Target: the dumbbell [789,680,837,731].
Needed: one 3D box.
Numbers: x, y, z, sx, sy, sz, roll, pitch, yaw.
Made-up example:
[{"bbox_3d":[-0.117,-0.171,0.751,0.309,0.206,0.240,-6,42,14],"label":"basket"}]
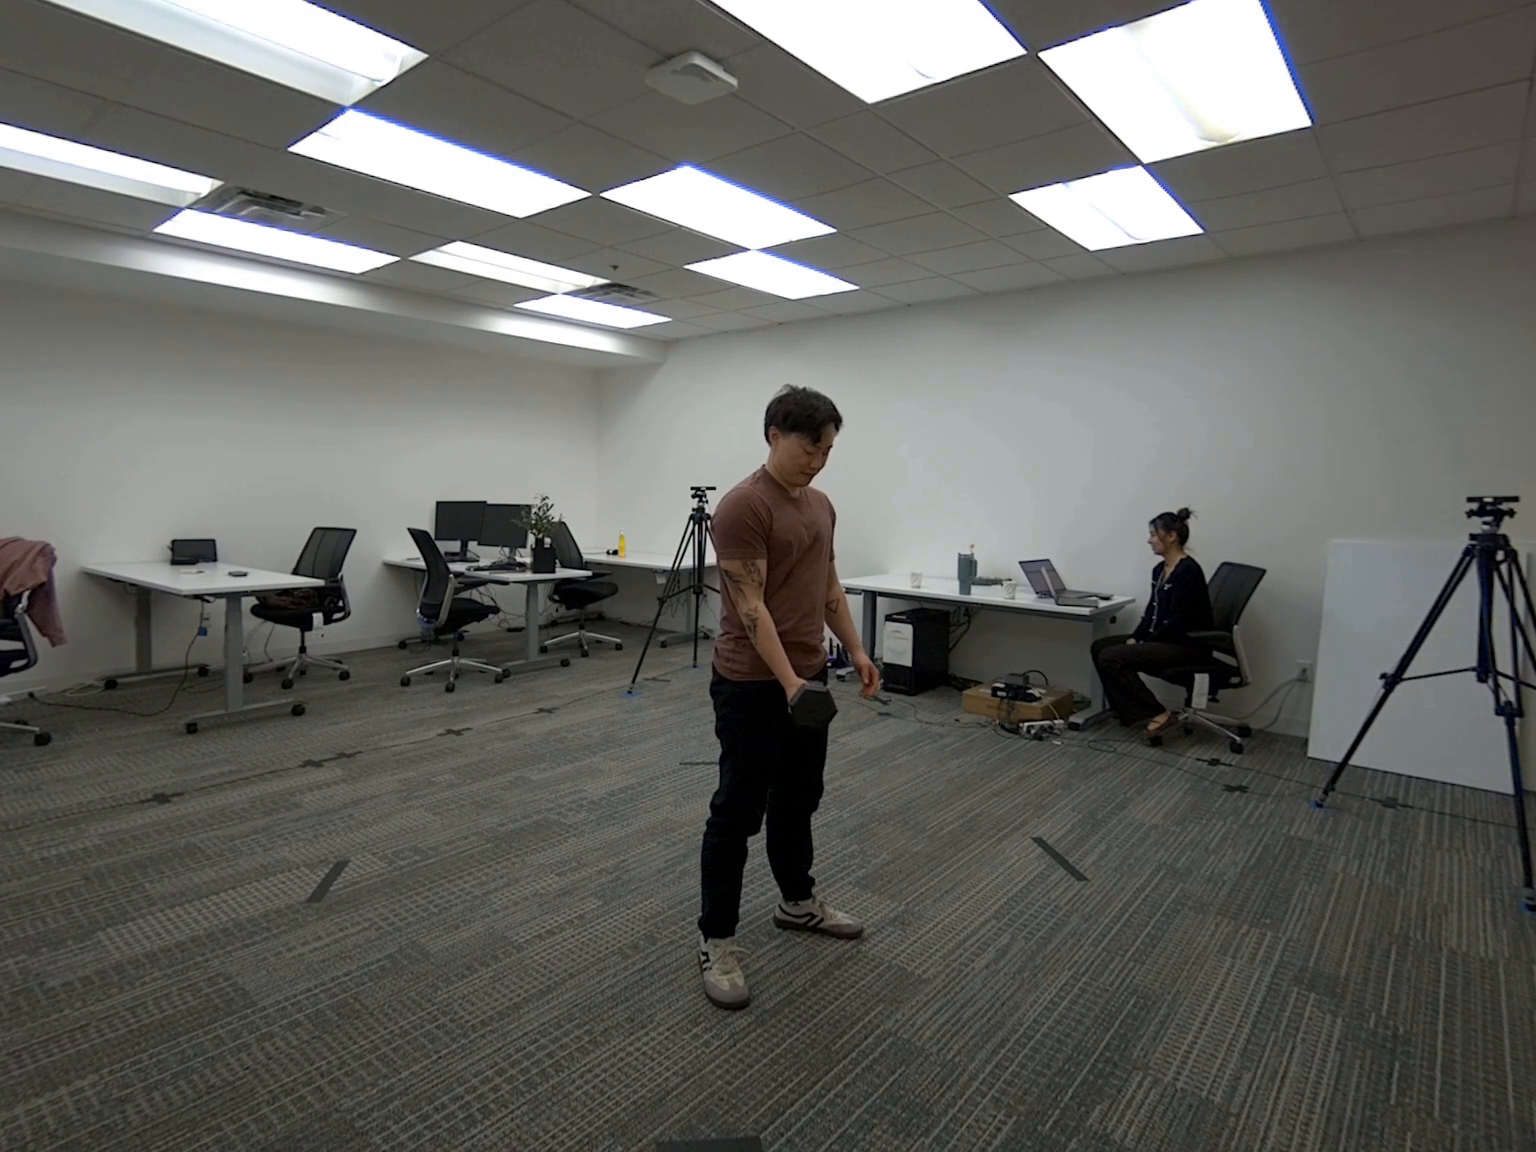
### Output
[{"bbox_3d":[0.114,0.322,2.218,0.123,0.109,0.293,6,-3,-2],"label":"dumbbell"}]
